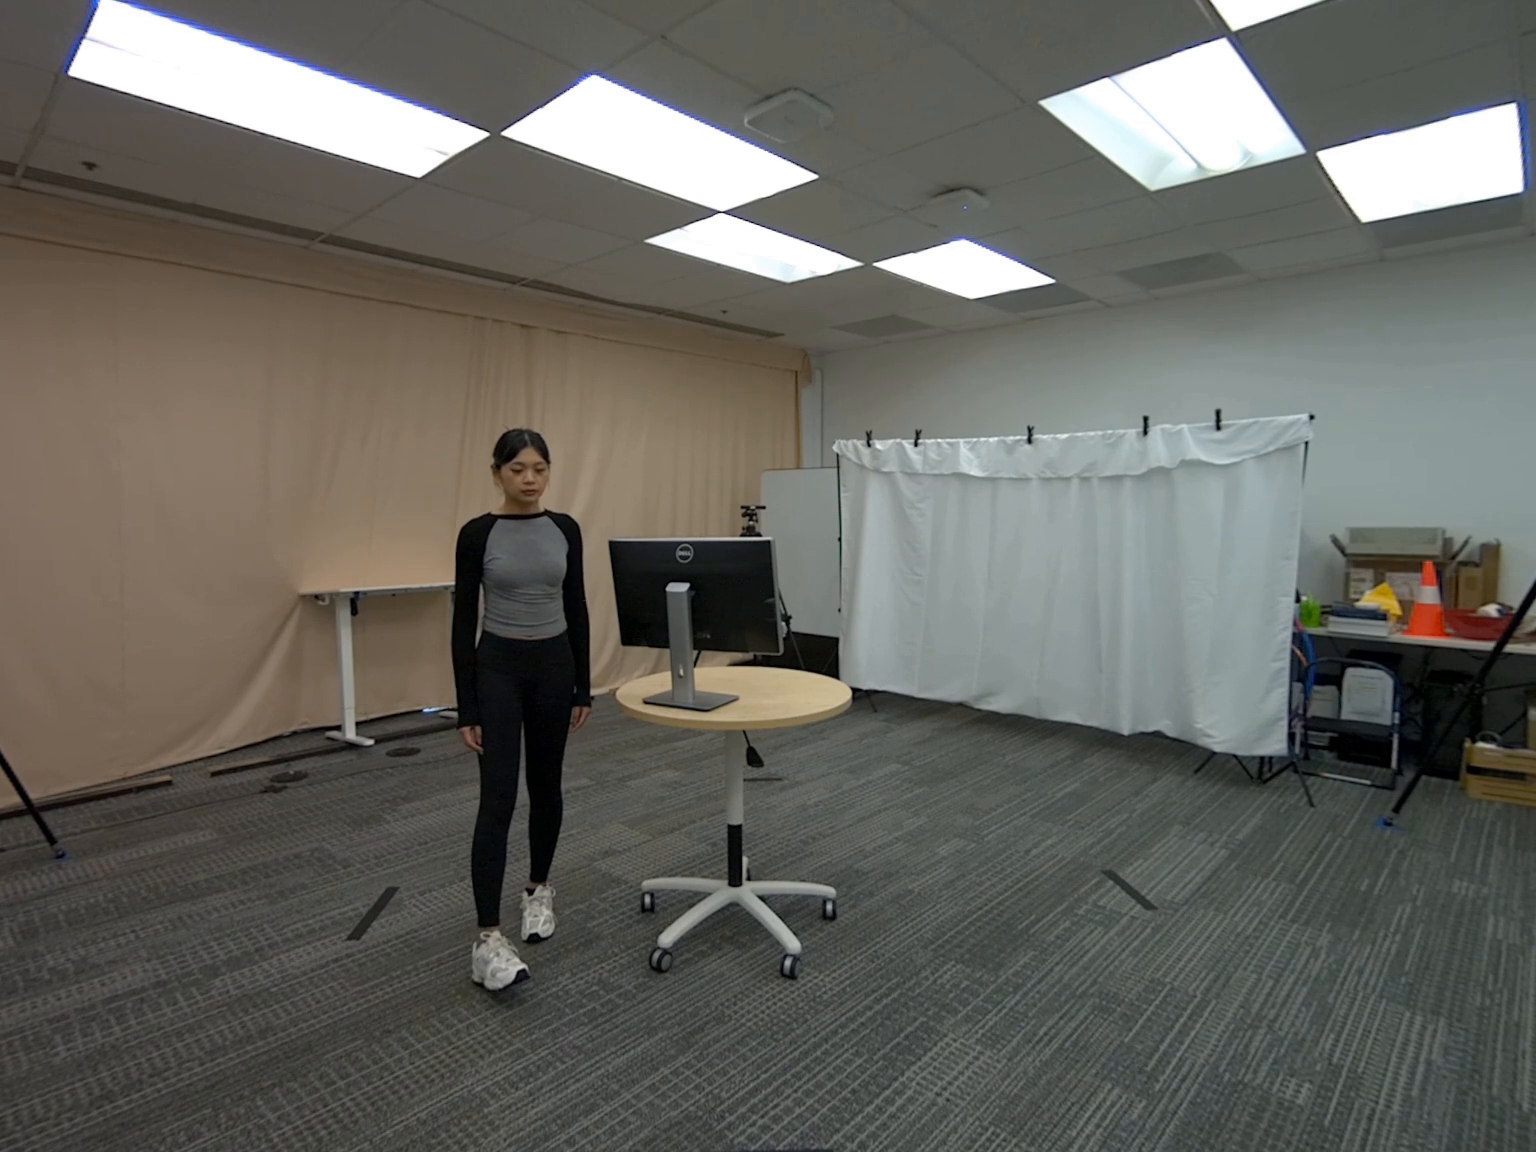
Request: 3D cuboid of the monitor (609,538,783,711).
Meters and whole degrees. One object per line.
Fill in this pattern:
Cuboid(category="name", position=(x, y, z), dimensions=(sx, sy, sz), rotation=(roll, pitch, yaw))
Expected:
Cuboid(category="monitor", position=(-0.242, 0.147, 2.588), dimensions=(0.551, 0.522, 0.183), rotation=(0, 1, 21))
